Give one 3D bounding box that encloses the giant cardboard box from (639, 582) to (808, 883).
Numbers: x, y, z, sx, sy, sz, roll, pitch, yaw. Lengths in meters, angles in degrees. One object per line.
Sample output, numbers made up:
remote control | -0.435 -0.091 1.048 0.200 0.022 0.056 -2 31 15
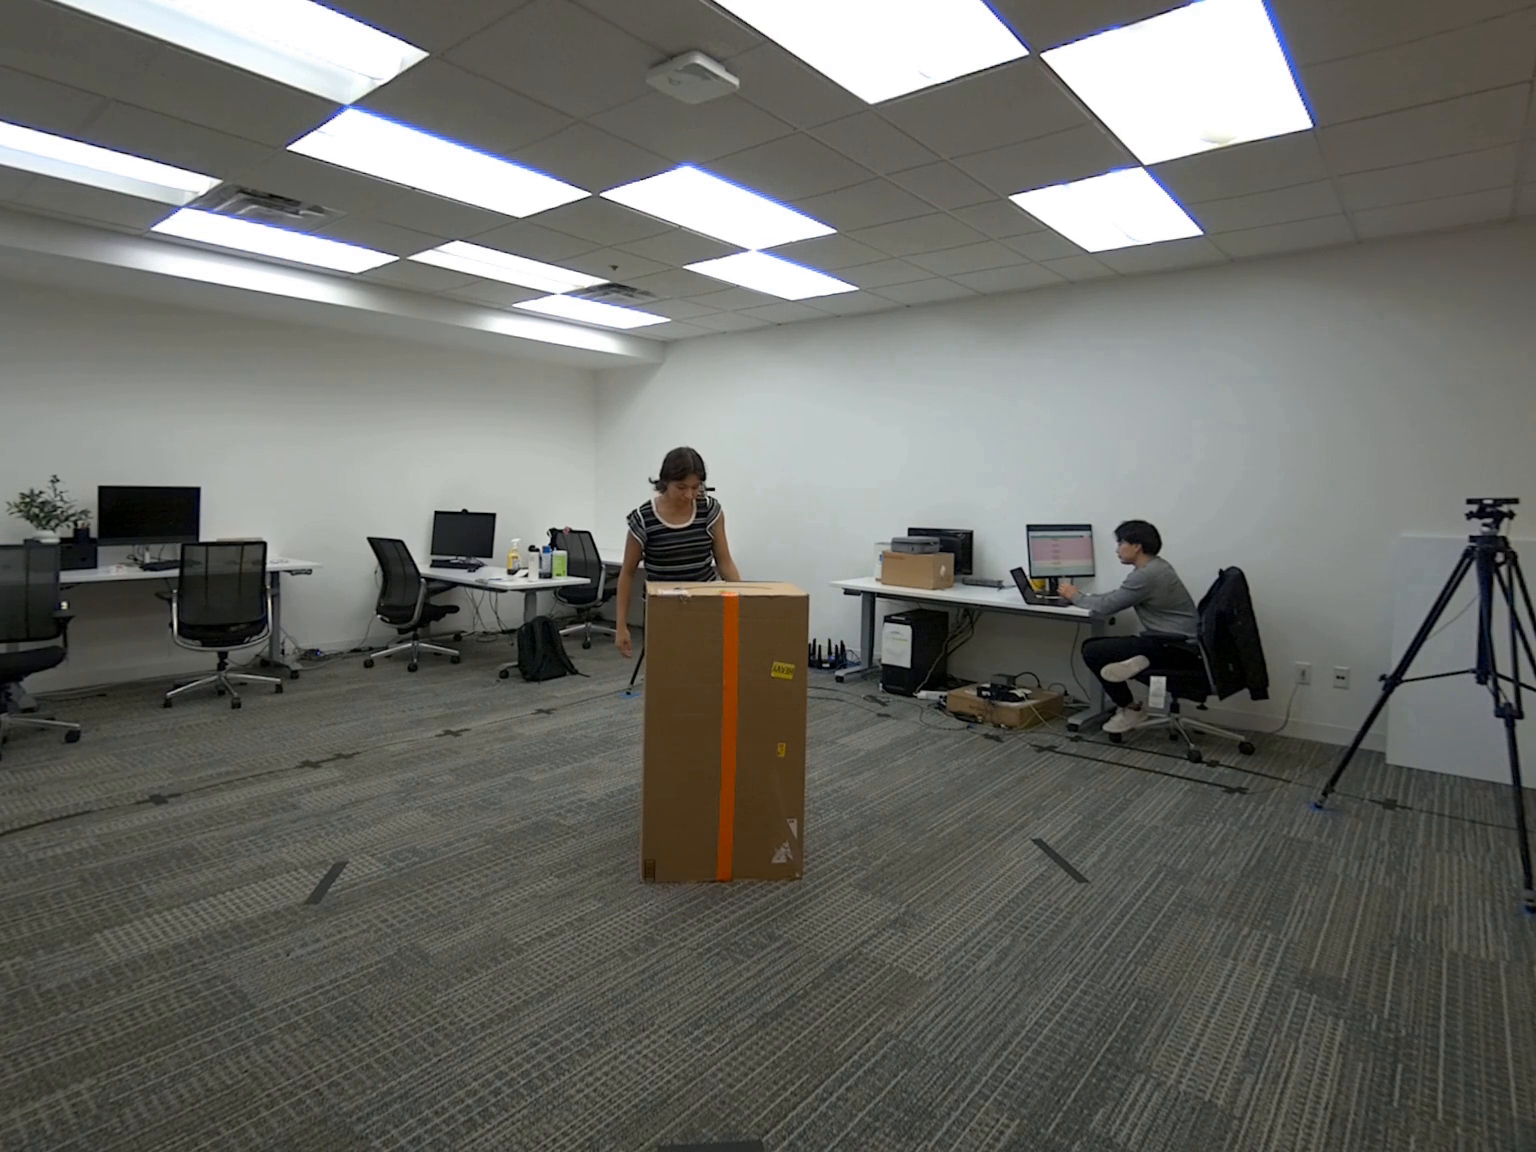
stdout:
giant cardboard box | -0.185 0.551 3.193 0.574 1.023 0.430 1 3 -7
